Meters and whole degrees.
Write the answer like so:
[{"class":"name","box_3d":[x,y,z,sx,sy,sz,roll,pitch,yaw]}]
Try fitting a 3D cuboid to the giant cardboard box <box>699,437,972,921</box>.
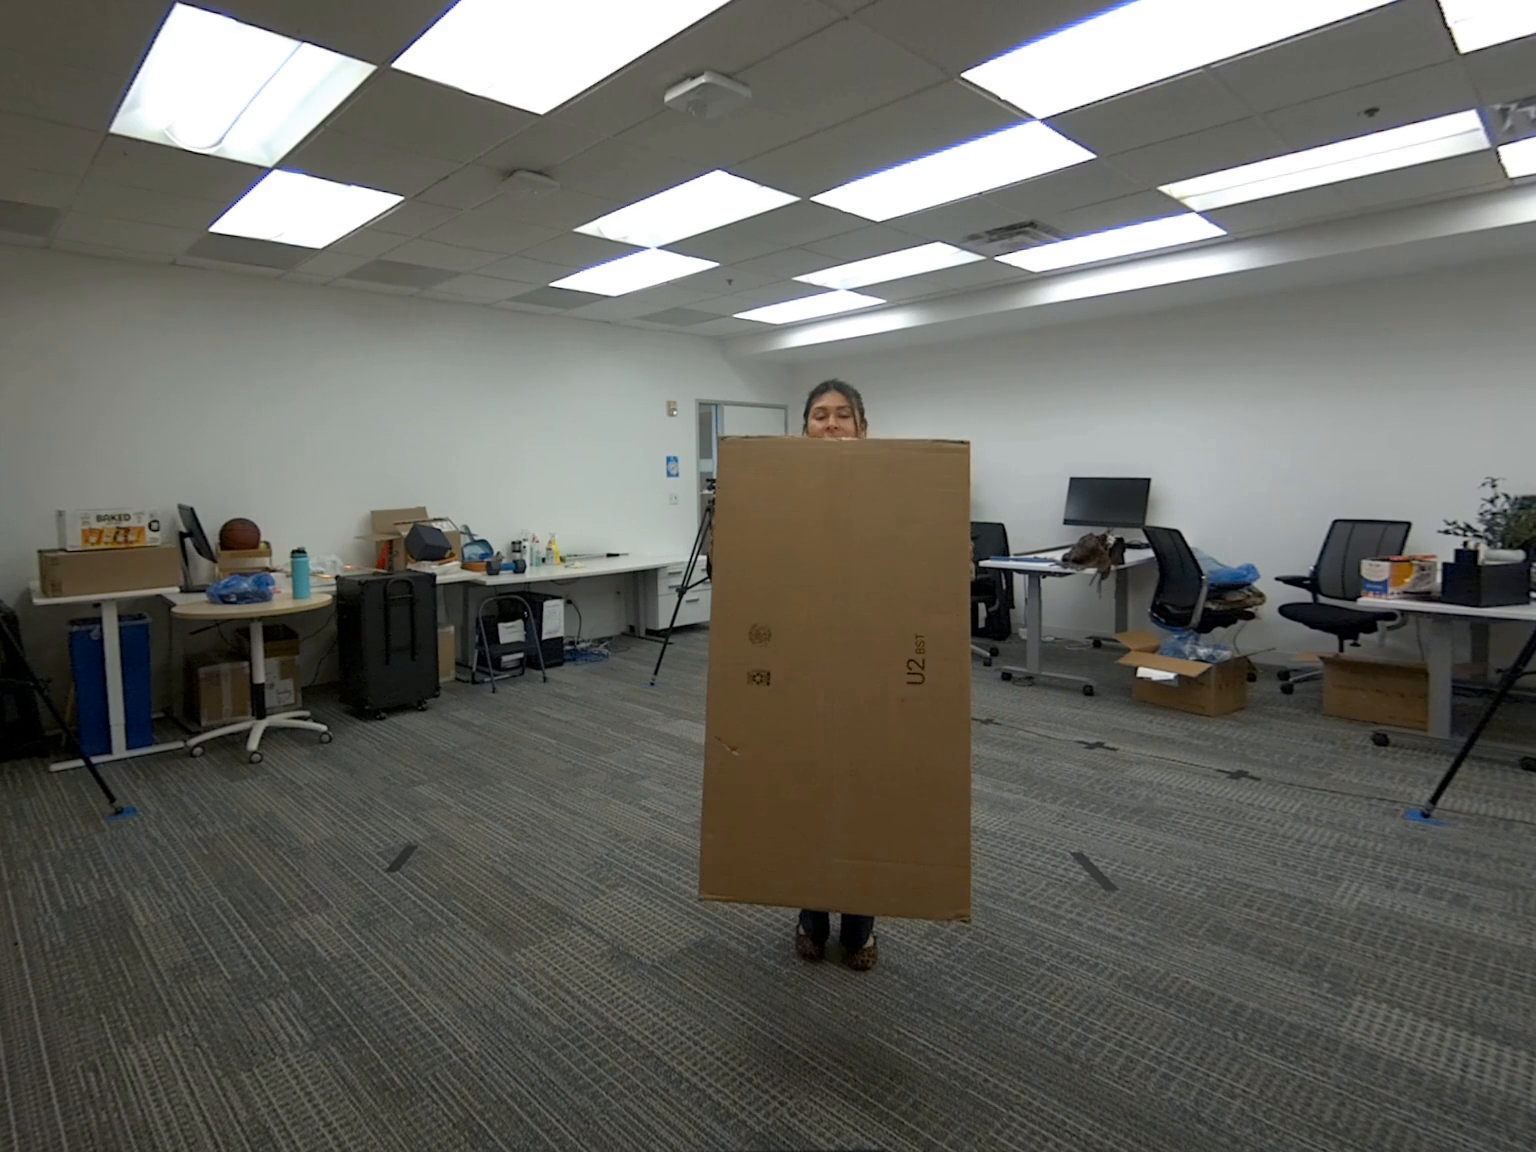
[{"class":"giant cardboard box","box_3d":[0.170,0.221,2.064,0.582,1.033,0.420,1,-8,6]}]
